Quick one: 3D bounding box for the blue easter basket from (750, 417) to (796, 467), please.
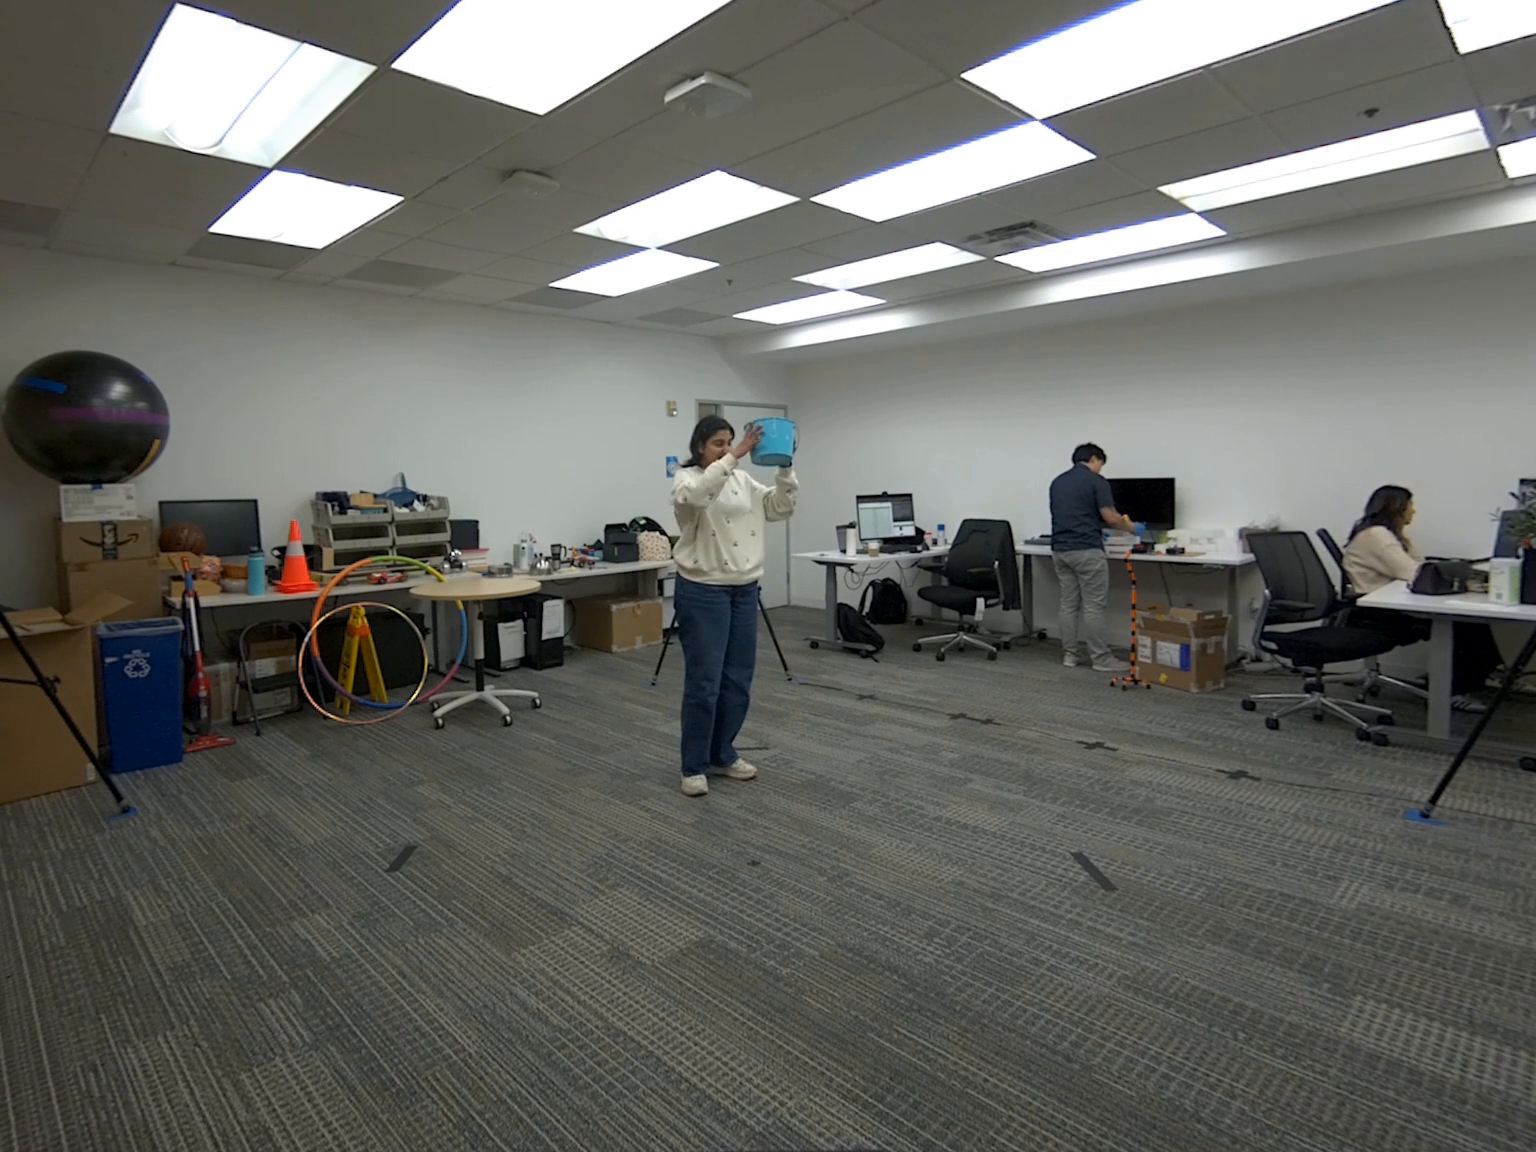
[{"bbox_3d":[0.014,-0.577,3.745,0.243,0.158,0.241,-3,-12,-2],"label":"blue easter basket"}]
